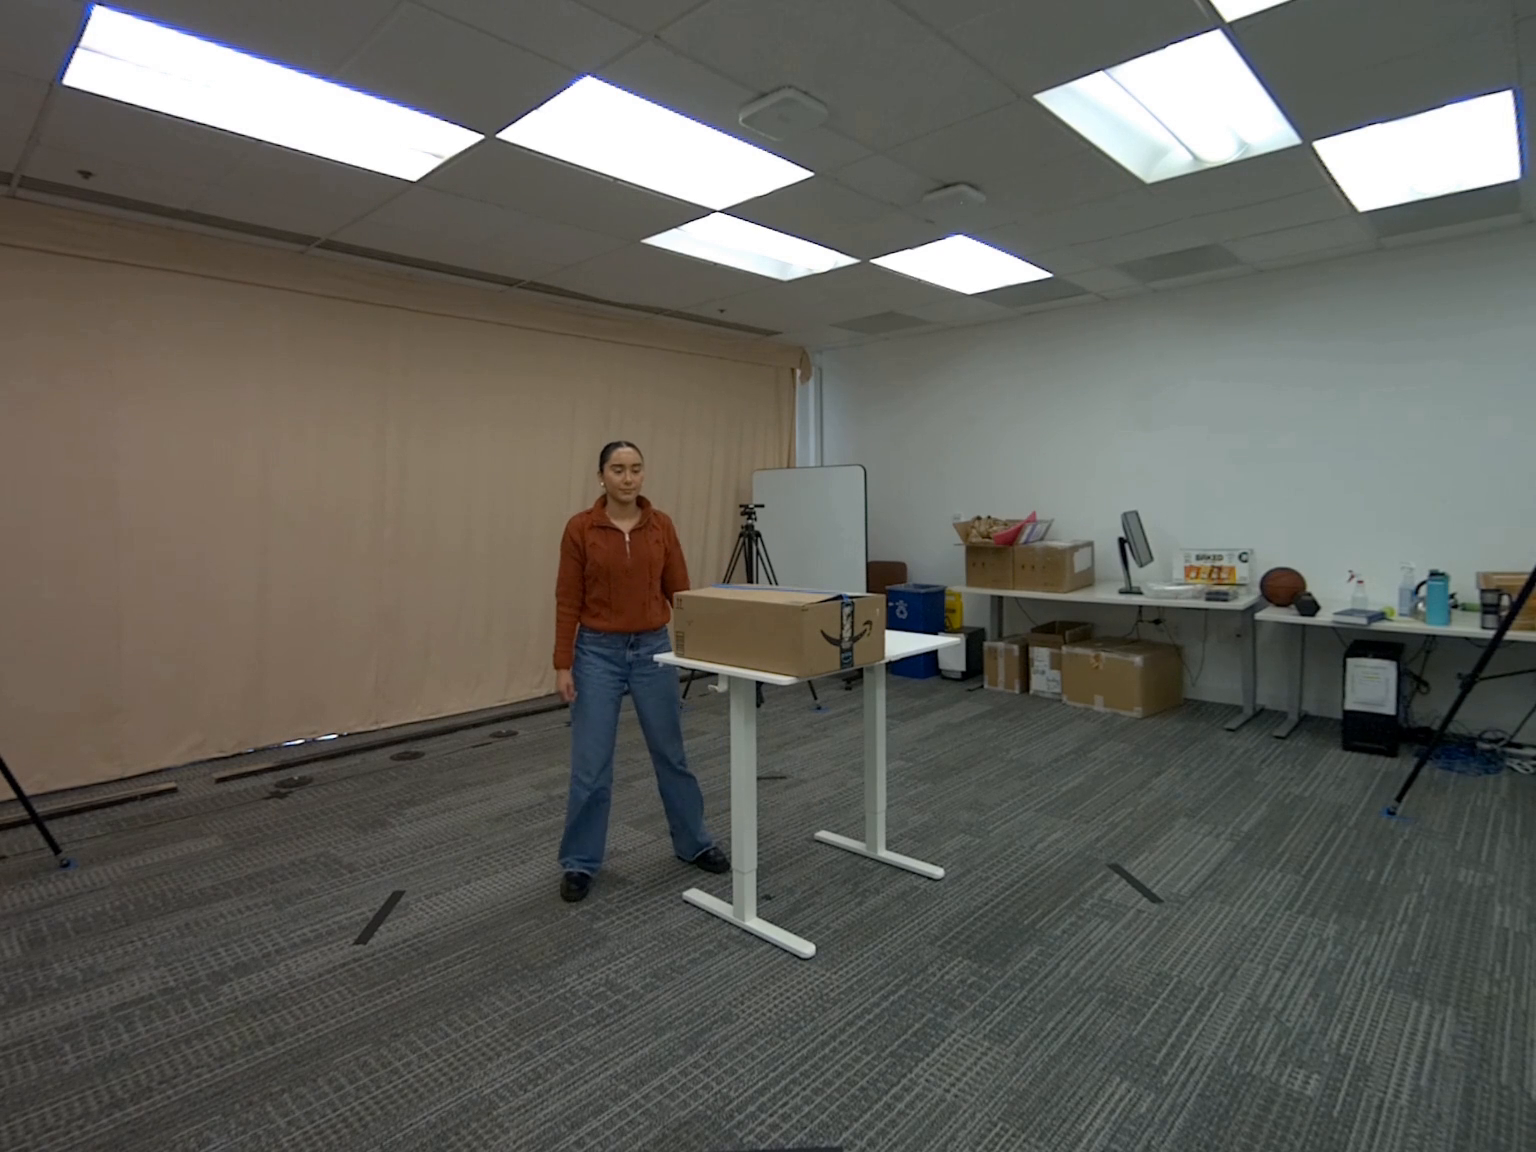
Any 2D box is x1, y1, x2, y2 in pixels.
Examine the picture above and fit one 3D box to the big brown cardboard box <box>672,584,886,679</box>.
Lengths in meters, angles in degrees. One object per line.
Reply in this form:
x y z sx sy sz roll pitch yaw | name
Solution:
0.037 0.166 2.779 0.608 0.233 0.405 3 5 43 | big brown cardboard box
